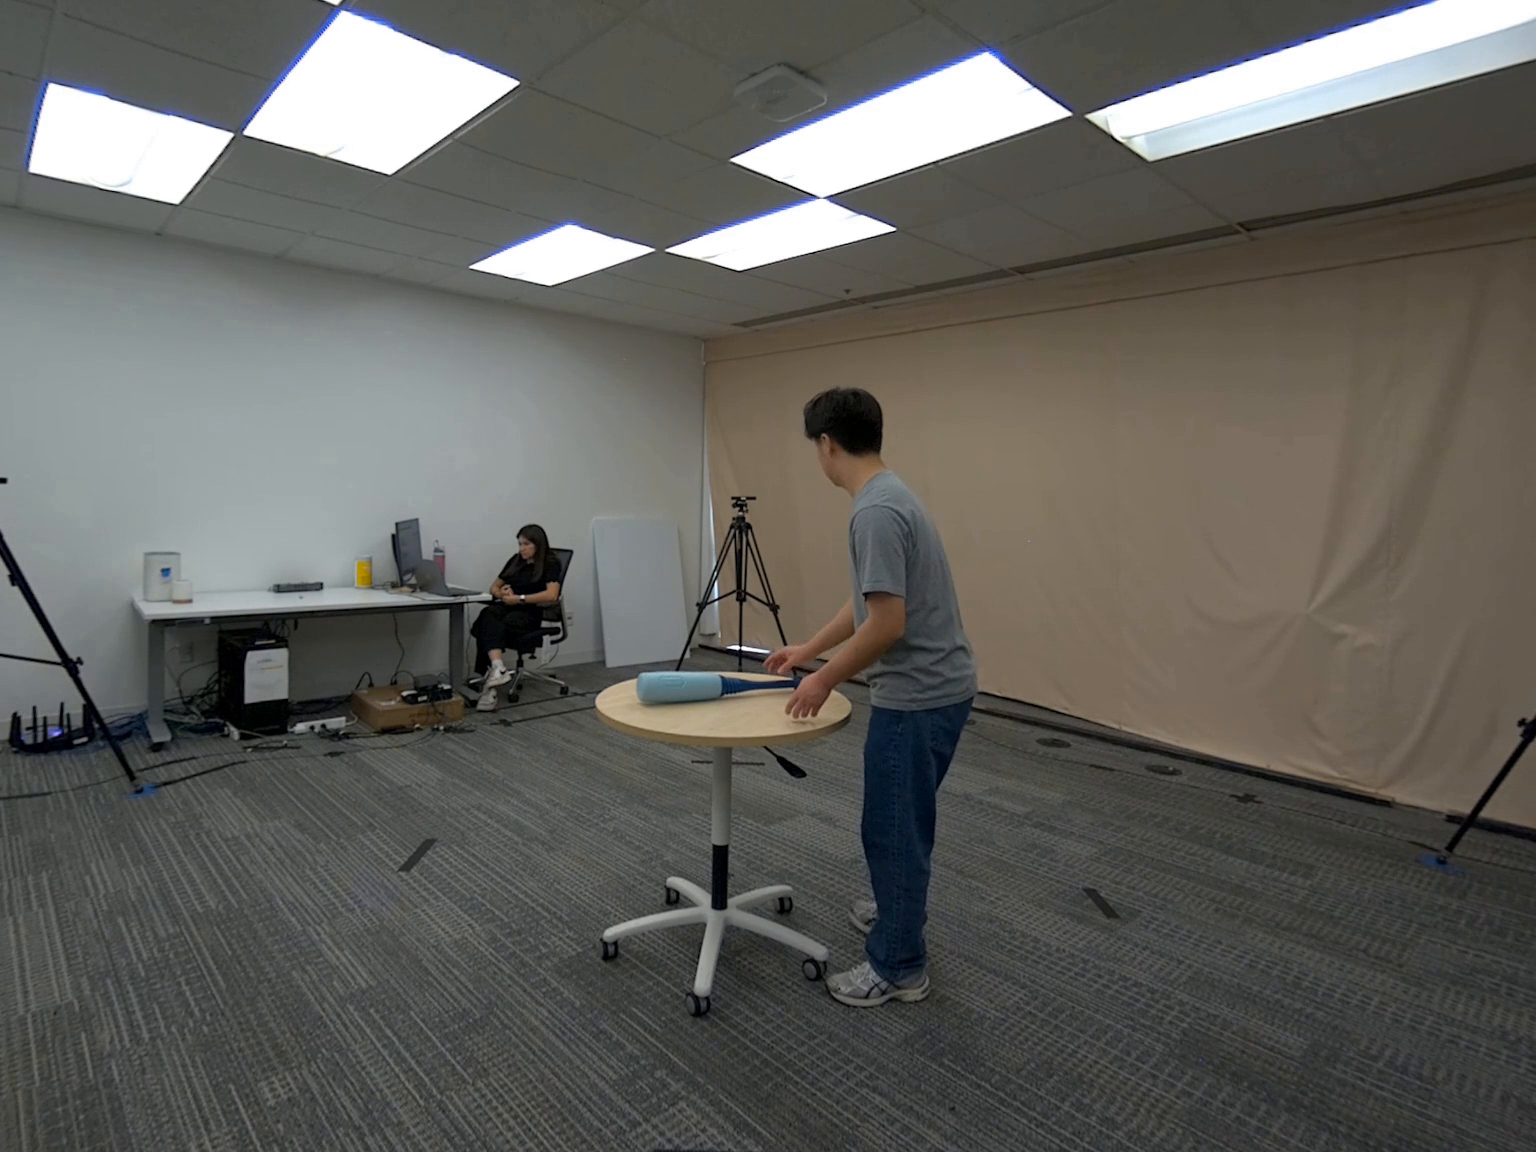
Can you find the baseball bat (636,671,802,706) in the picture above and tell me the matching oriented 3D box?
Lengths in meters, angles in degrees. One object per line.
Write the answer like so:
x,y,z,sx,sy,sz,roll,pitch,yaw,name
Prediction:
-0.129,0.334,2.552,0.533,0.089,0.091,2,4,-23,baseball bat
